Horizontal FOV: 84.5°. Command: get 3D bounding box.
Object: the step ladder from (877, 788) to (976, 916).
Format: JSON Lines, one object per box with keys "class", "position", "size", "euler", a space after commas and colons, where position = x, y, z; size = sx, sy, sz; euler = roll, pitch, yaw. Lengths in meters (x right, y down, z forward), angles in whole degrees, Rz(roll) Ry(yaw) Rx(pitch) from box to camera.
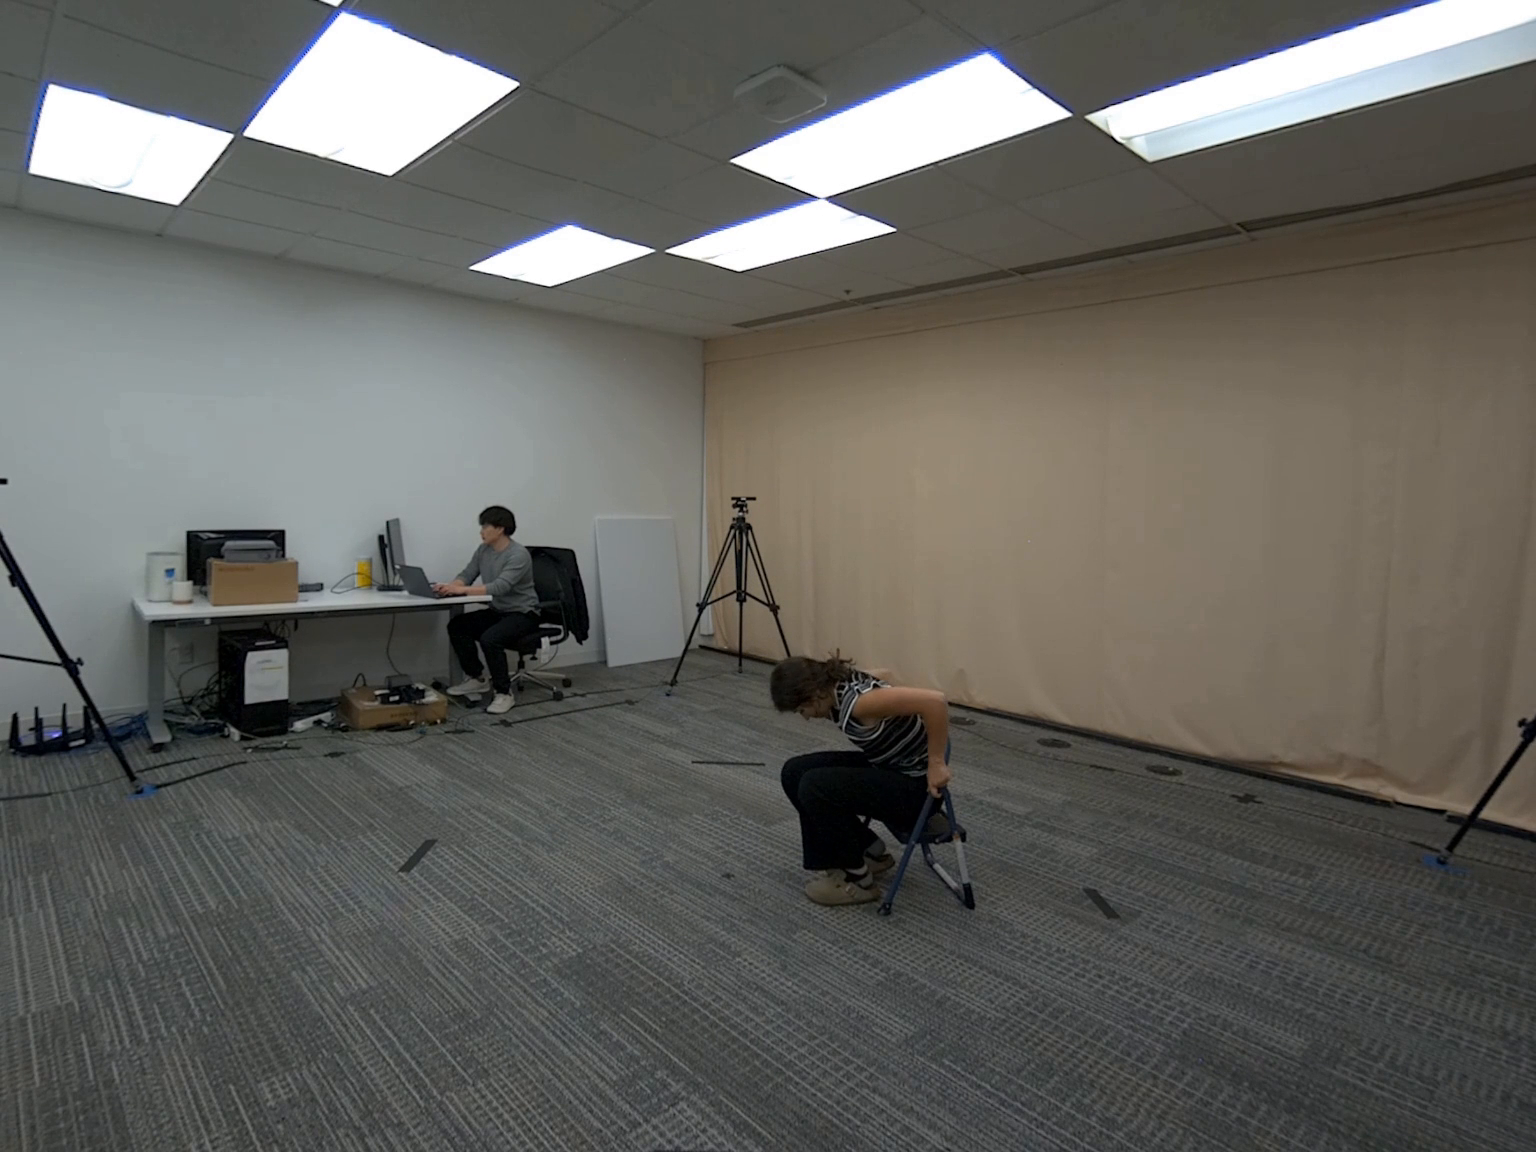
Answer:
{"class": "step ladder", "position": [0.511, 0.828, 3.054], "size": [0.346, 0.604, 0.435], "euler": [1, 4, -11]}
